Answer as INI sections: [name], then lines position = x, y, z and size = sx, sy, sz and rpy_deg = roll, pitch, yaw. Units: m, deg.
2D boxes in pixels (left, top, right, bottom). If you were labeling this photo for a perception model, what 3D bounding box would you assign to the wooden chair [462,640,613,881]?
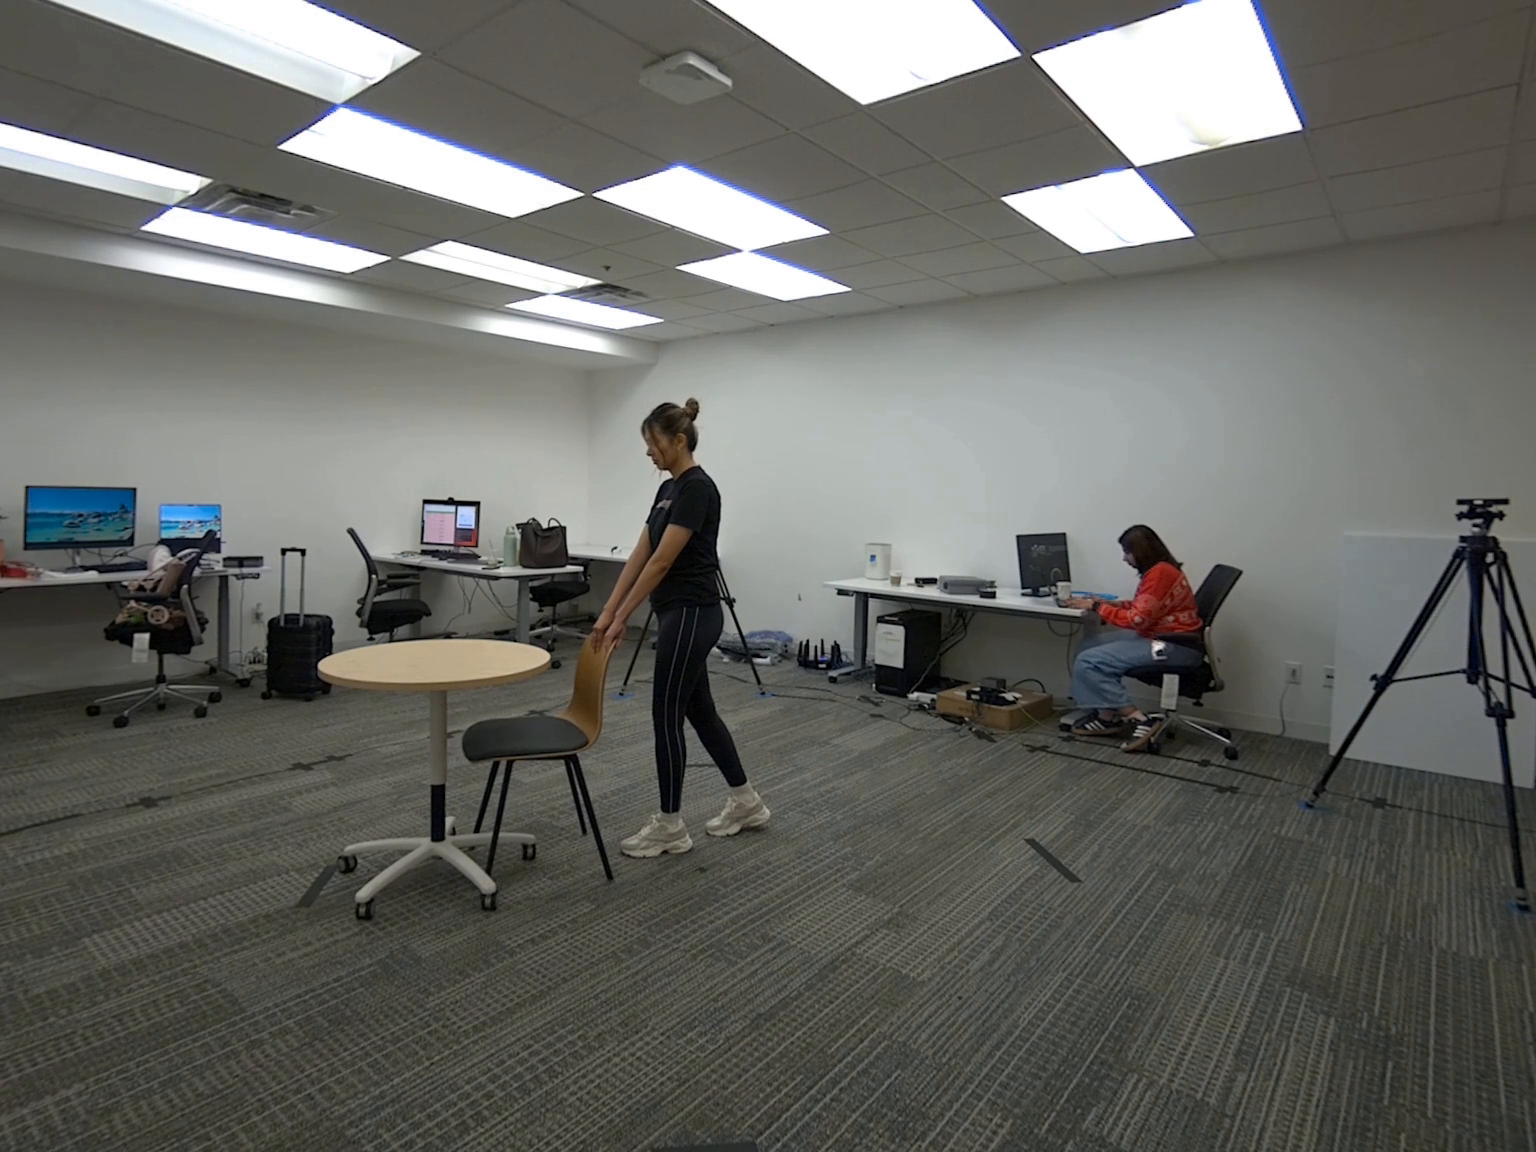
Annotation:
[wooden chair]
position = -0.852, 0.632, 3.105
size = 0.511, 0.876, 0.490
rpy_deg = 4, 2, -23
